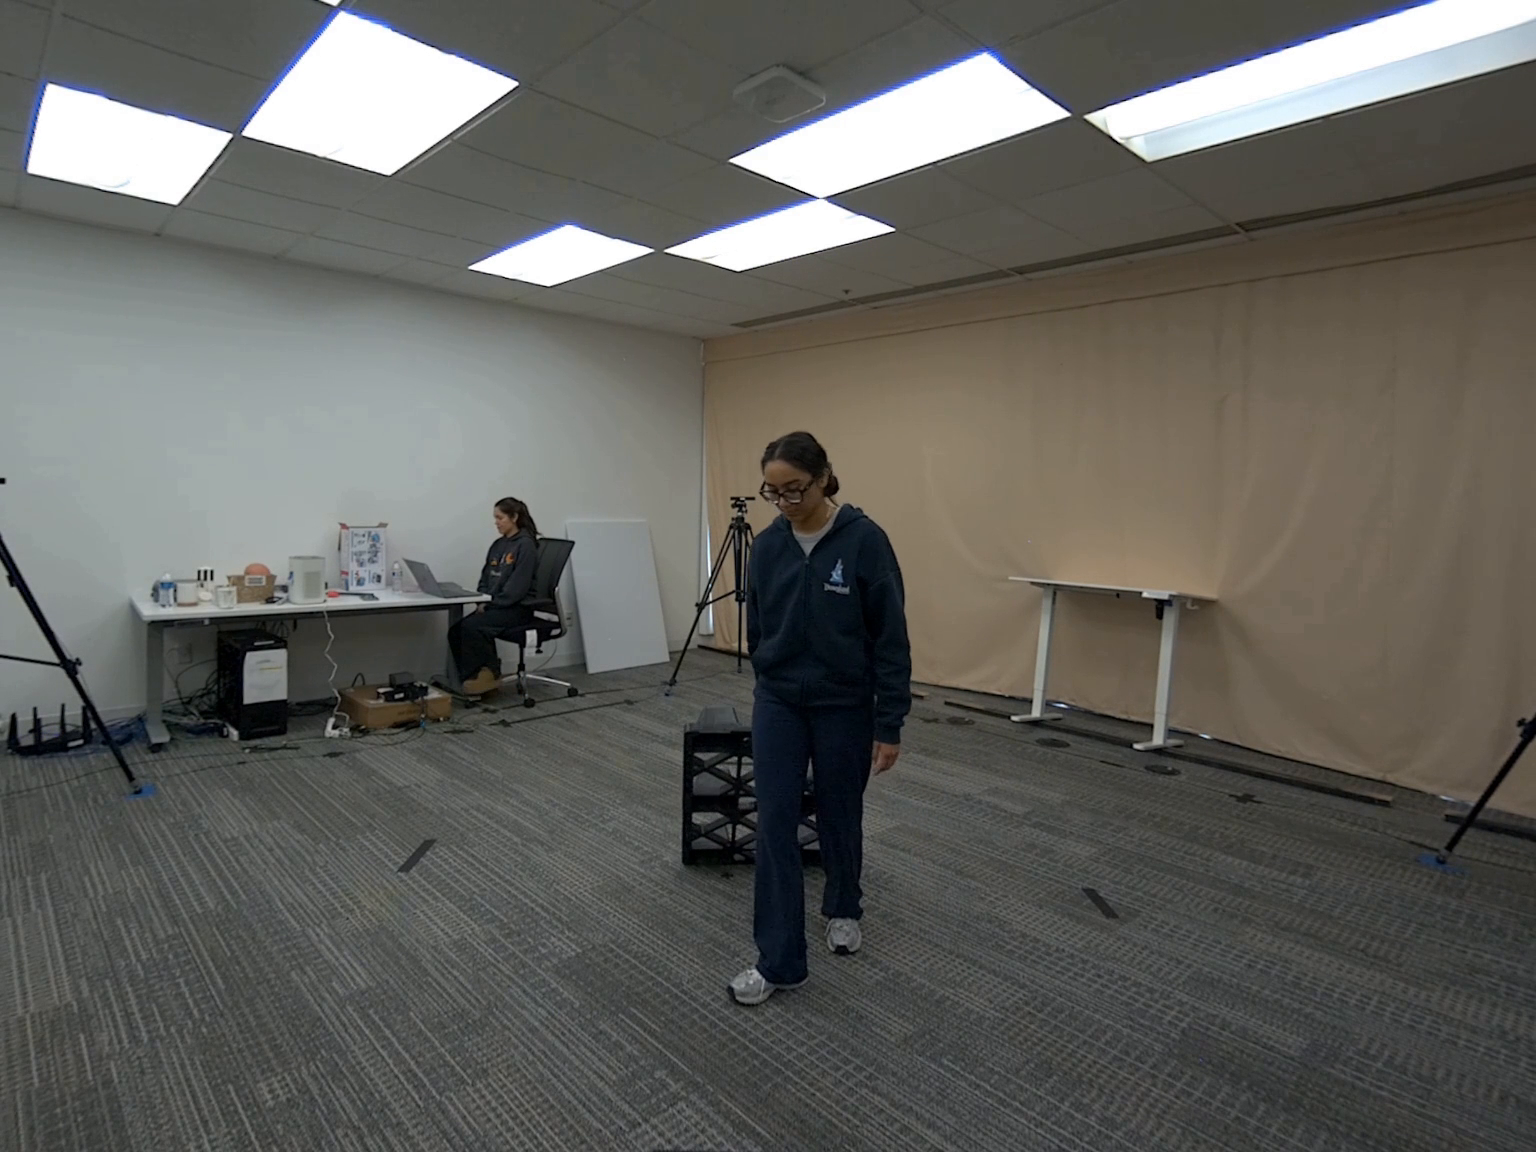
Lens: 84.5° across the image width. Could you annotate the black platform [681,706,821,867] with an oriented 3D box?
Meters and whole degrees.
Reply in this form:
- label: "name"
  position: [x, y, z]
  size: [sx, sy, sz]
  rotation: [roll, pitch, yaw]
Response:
- label: "black platform"
  position: [-0.010, 0.764, 2.983]
  size: [0.604, 0.789, 0.146]
  rotation: [3, 39, -2]
